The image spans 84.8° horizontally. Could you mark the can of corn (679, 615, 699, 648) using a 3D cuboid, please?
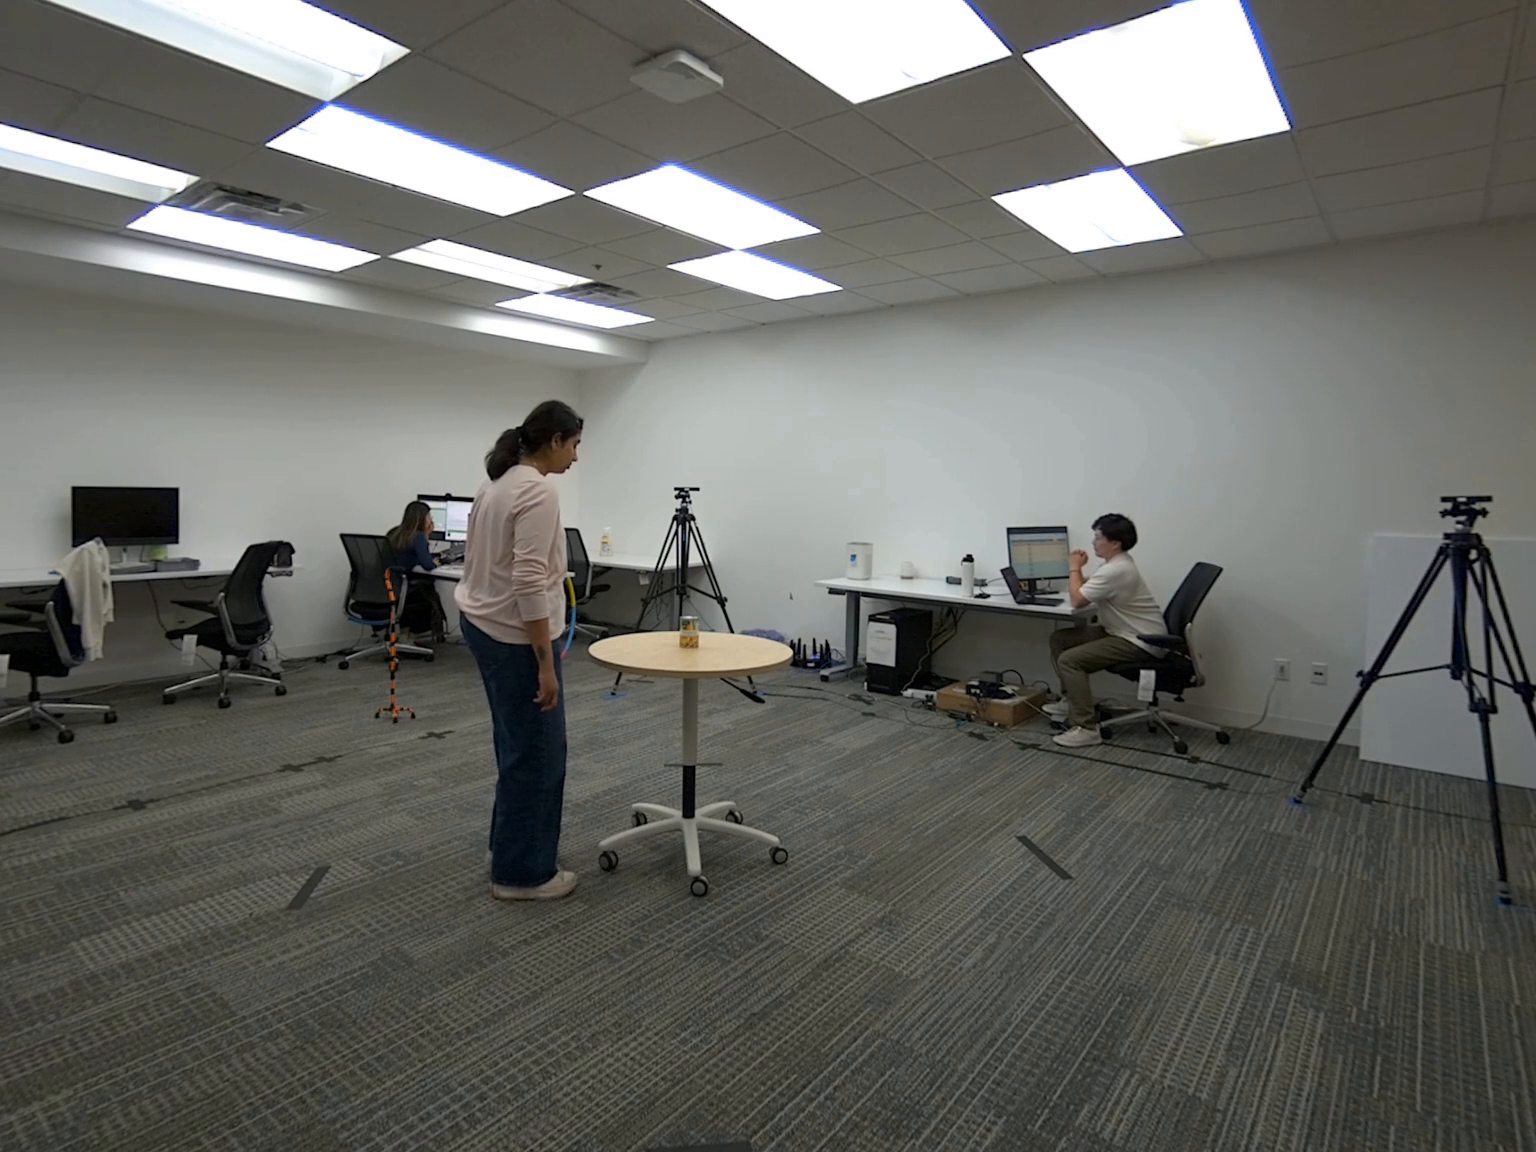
[{"bbox_3d":[-0.314,0.212,3.238,0.074,0.110,0.074,1,4,-2],"label":"can of corn"}]
